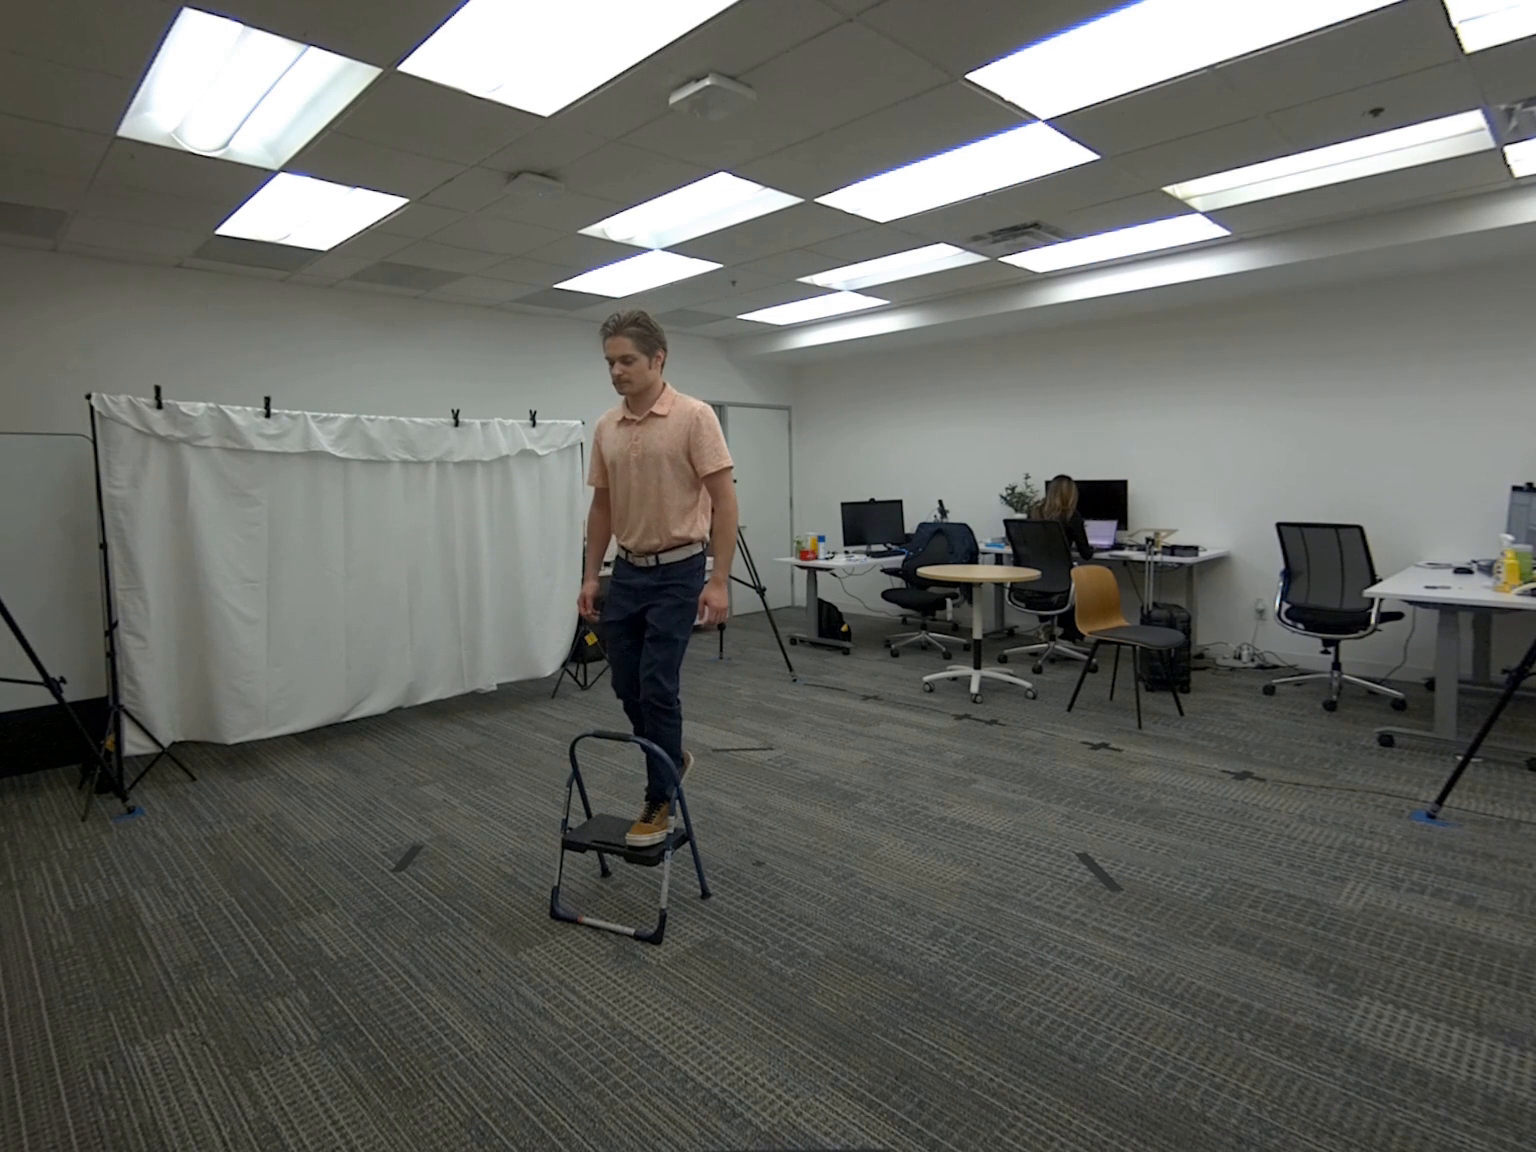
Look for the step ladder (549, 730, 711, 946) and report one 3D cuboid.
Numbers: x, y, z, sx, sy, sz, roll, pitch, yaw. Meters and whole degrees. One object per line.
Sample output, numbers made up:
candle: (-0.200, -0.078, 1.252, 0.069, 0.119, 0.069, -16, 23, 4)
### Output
step ladder: (-0.458, 0.789, 2.795, 0.440, 0.603, 0.343, 0, 5, 24)
